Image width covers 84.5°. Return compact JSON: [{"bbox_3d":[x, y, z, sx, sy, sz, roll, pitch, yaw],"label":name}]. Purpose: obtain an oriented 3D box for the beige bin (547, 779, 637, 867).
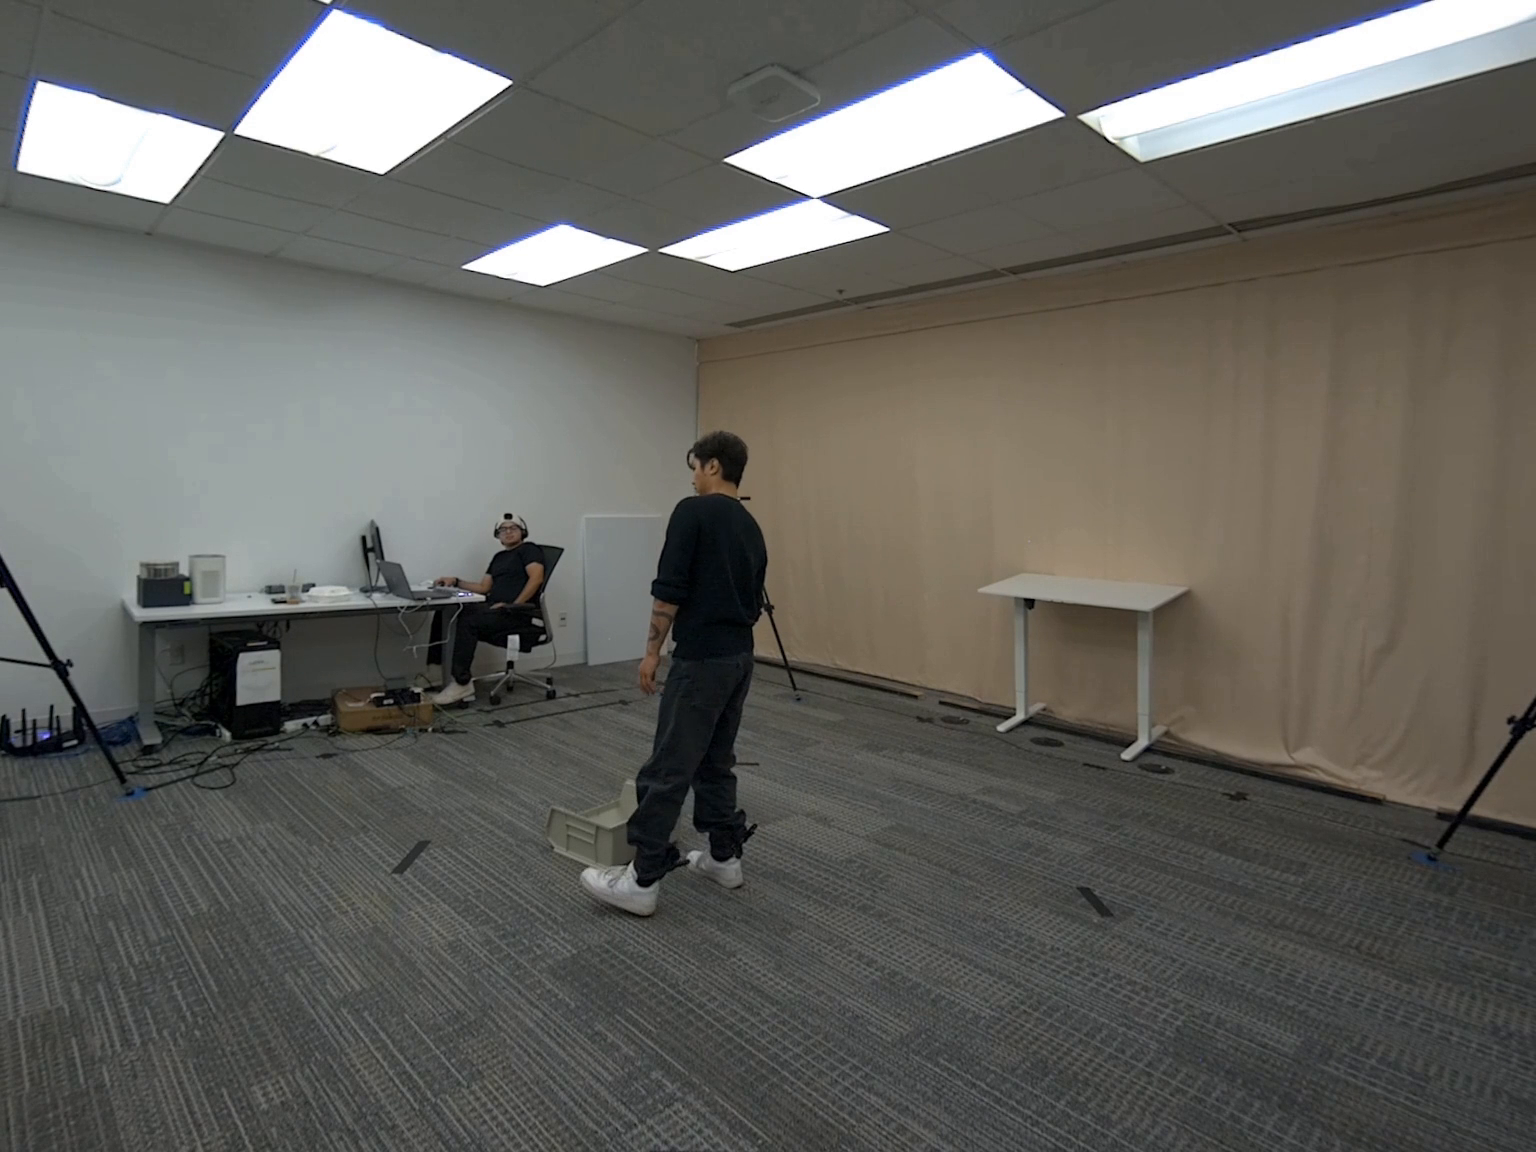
[{"bbox_3d":[-0.610,0.984,3.359,0.387,0.188,0.413,6,7,36],"label":"beige bin"}]
